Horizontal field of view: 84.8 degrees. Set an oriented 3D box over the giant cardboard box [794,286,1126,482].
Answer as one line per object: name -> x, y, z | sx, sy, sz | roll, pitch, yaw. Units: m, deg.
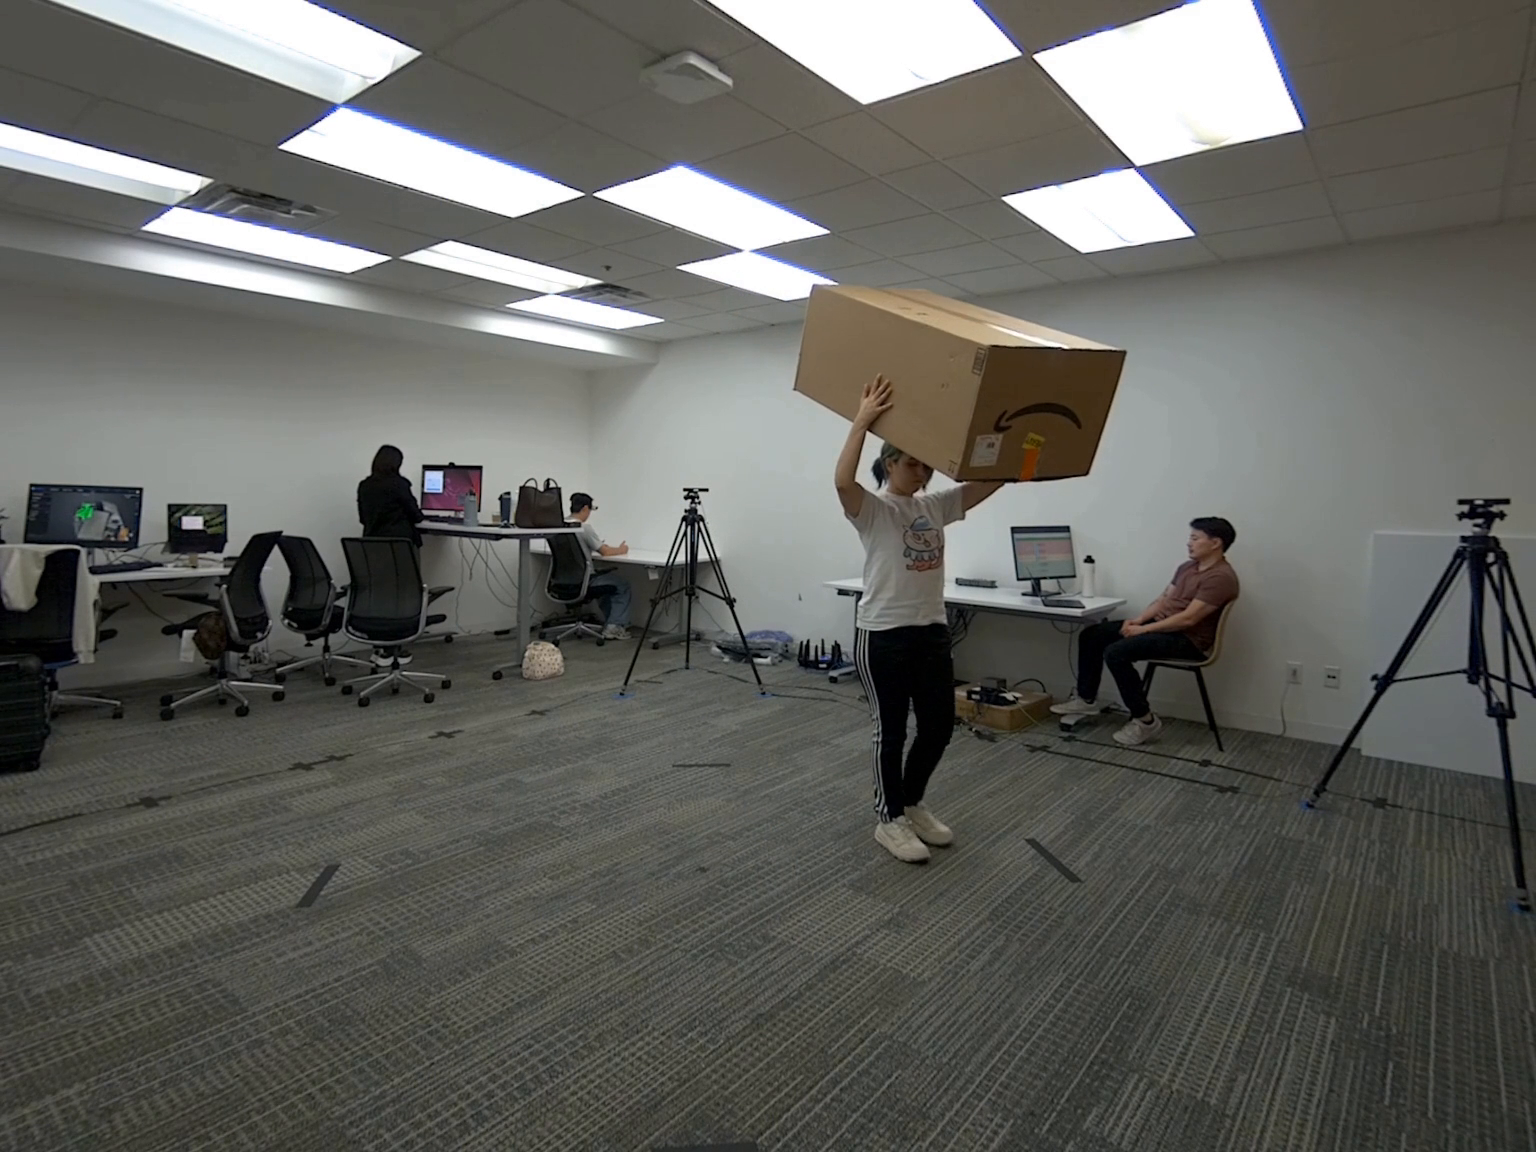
giant cardboard box -> 0.616, -0.726, 3.053 | 0.570, 0.439, 1.070 | -4, 28, -28
